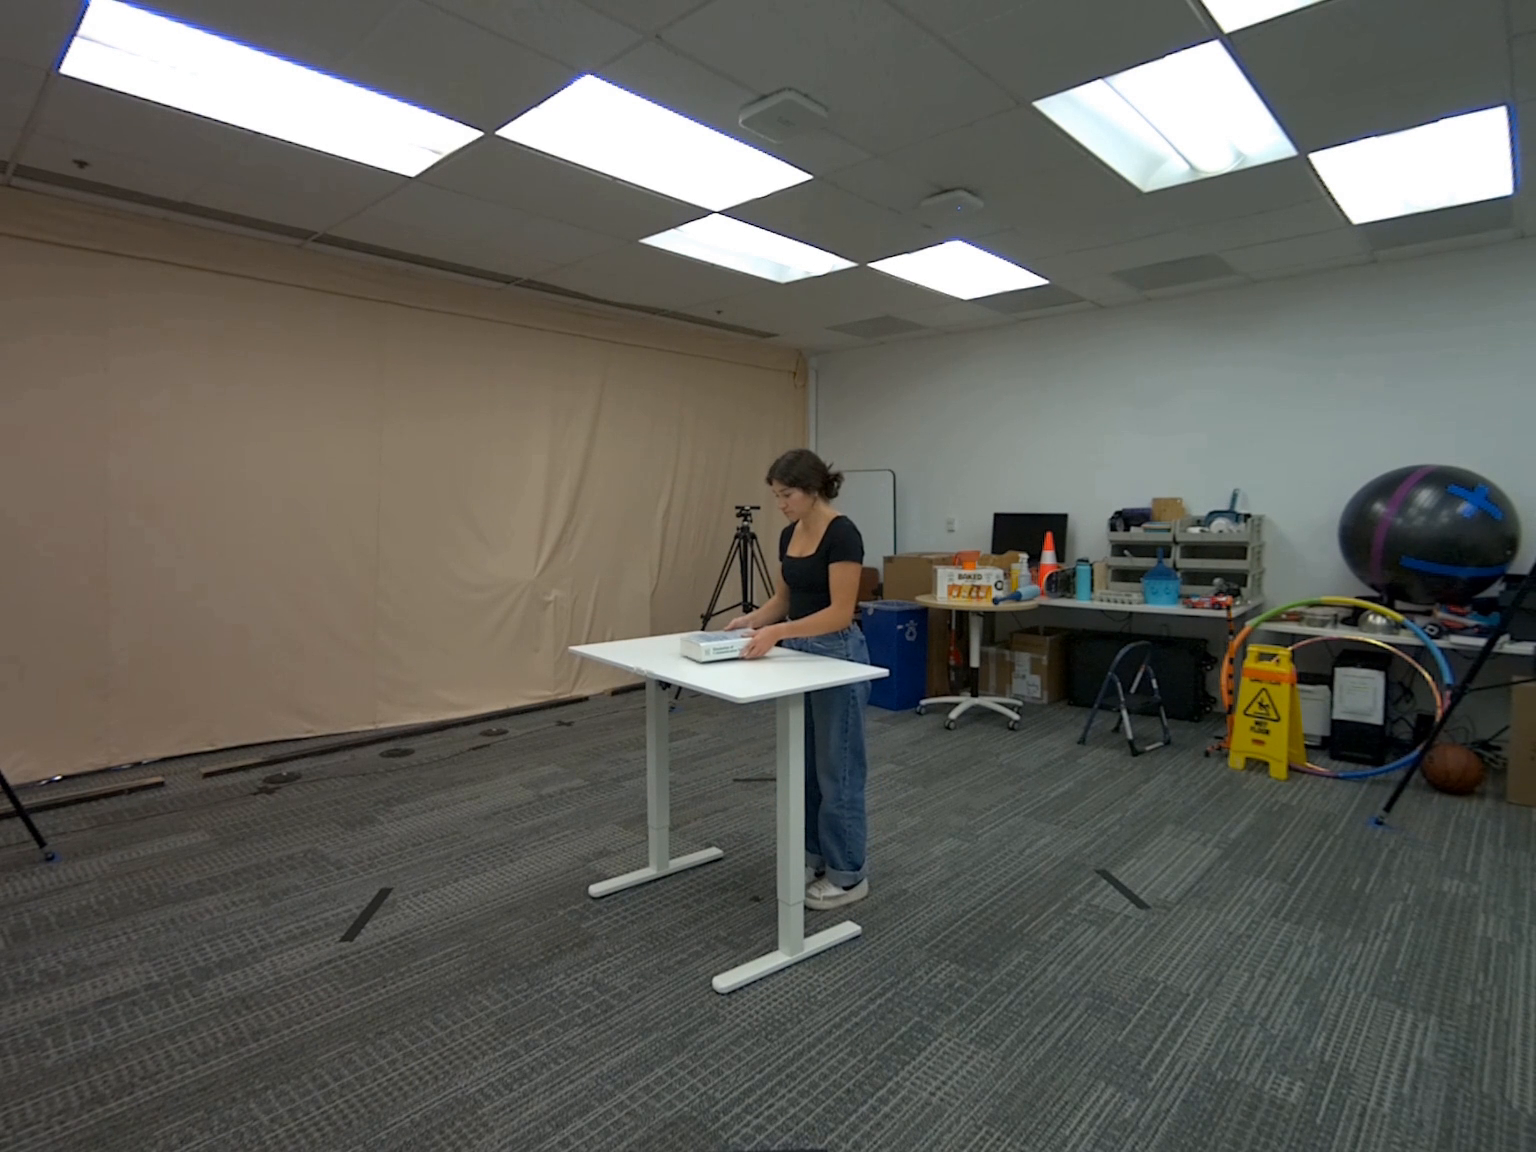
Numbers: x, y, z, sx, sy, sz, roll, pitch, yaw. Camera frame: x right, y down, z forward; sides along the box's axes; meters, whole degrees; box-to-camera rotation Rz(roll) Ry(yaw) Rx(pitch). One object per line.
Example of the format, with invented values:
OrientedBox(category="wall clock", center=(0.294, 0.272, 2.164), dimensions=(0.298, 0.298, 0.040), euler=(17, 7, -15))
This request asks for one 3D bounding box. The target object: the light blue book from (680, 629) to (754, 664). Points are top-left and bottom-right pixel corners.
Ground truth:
OrientedBox(category="light blue book", center=(-0.146, 0.233, 2.849), dimensions=(0.255, 0.059, 0.197), euler=(-5, 7, -27))
